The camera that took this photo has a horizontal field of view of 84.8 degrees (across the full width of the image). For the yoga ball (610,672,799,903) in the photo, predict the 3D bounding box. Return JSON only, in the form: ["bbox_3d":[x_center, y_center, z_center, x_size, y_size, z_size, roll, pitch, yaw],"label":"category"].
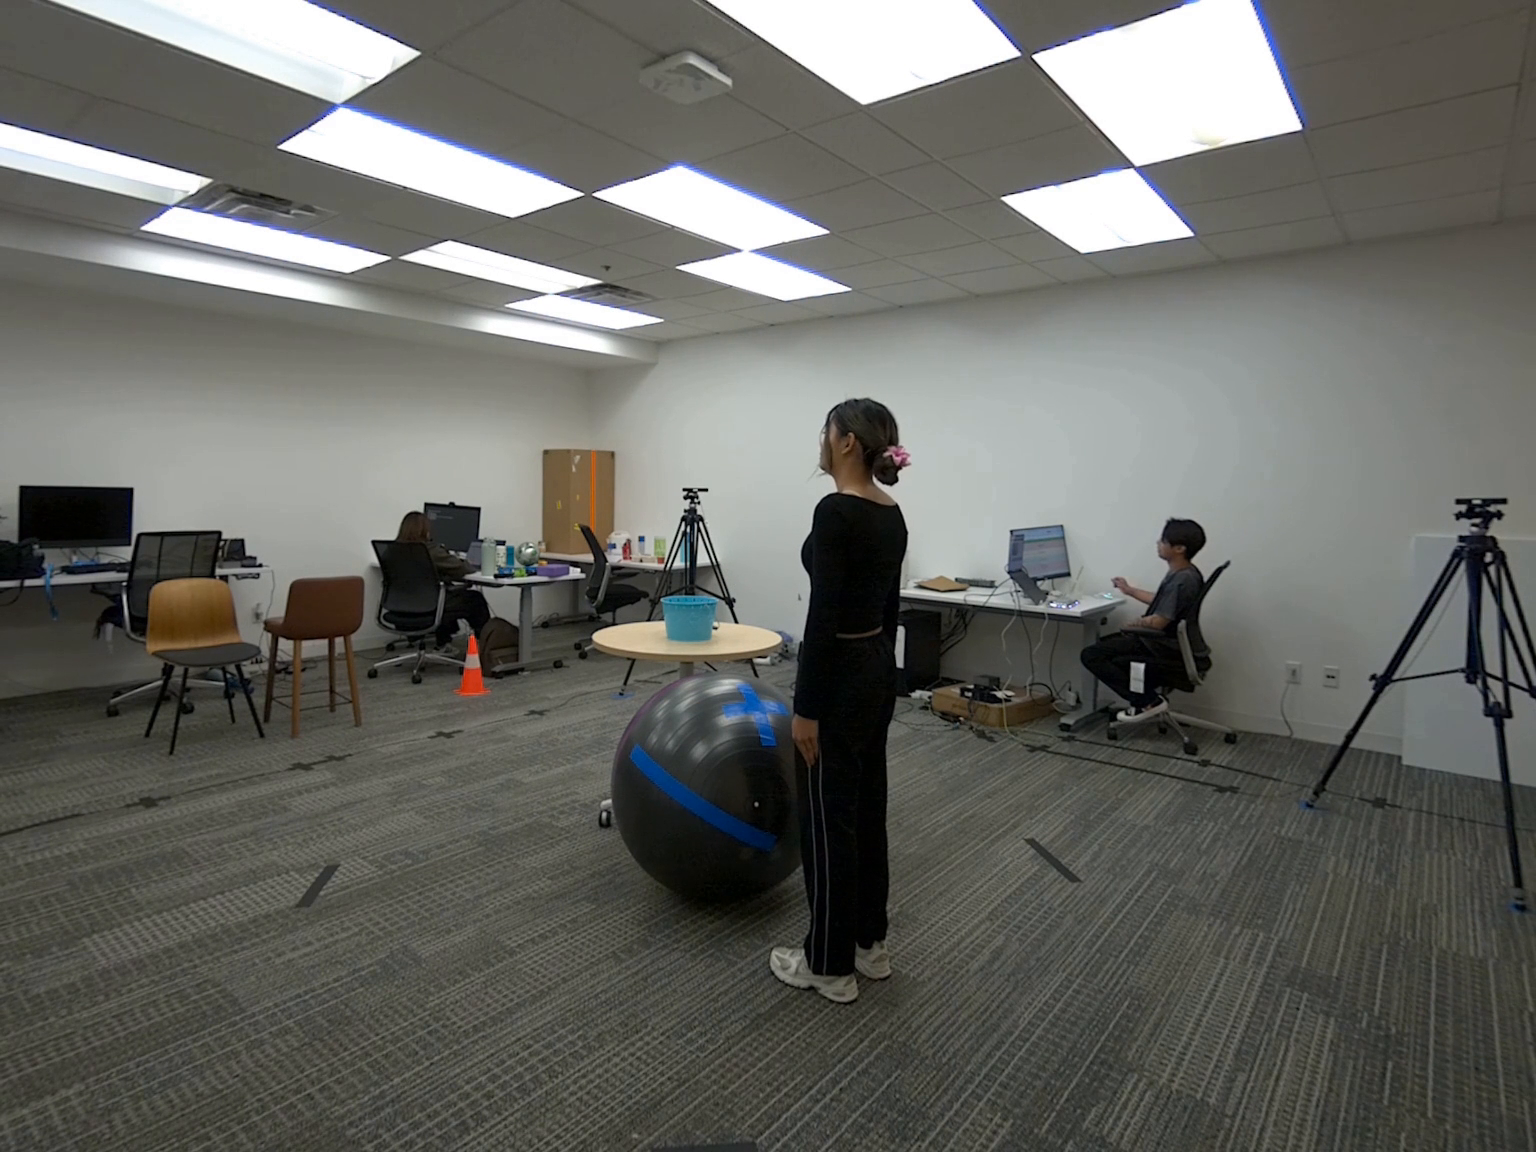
[{"bbox_3d":[-0.171,0.723,2.937,0.757,0.756,0.762,1,4,-2],"label":"yoga ball"}]
